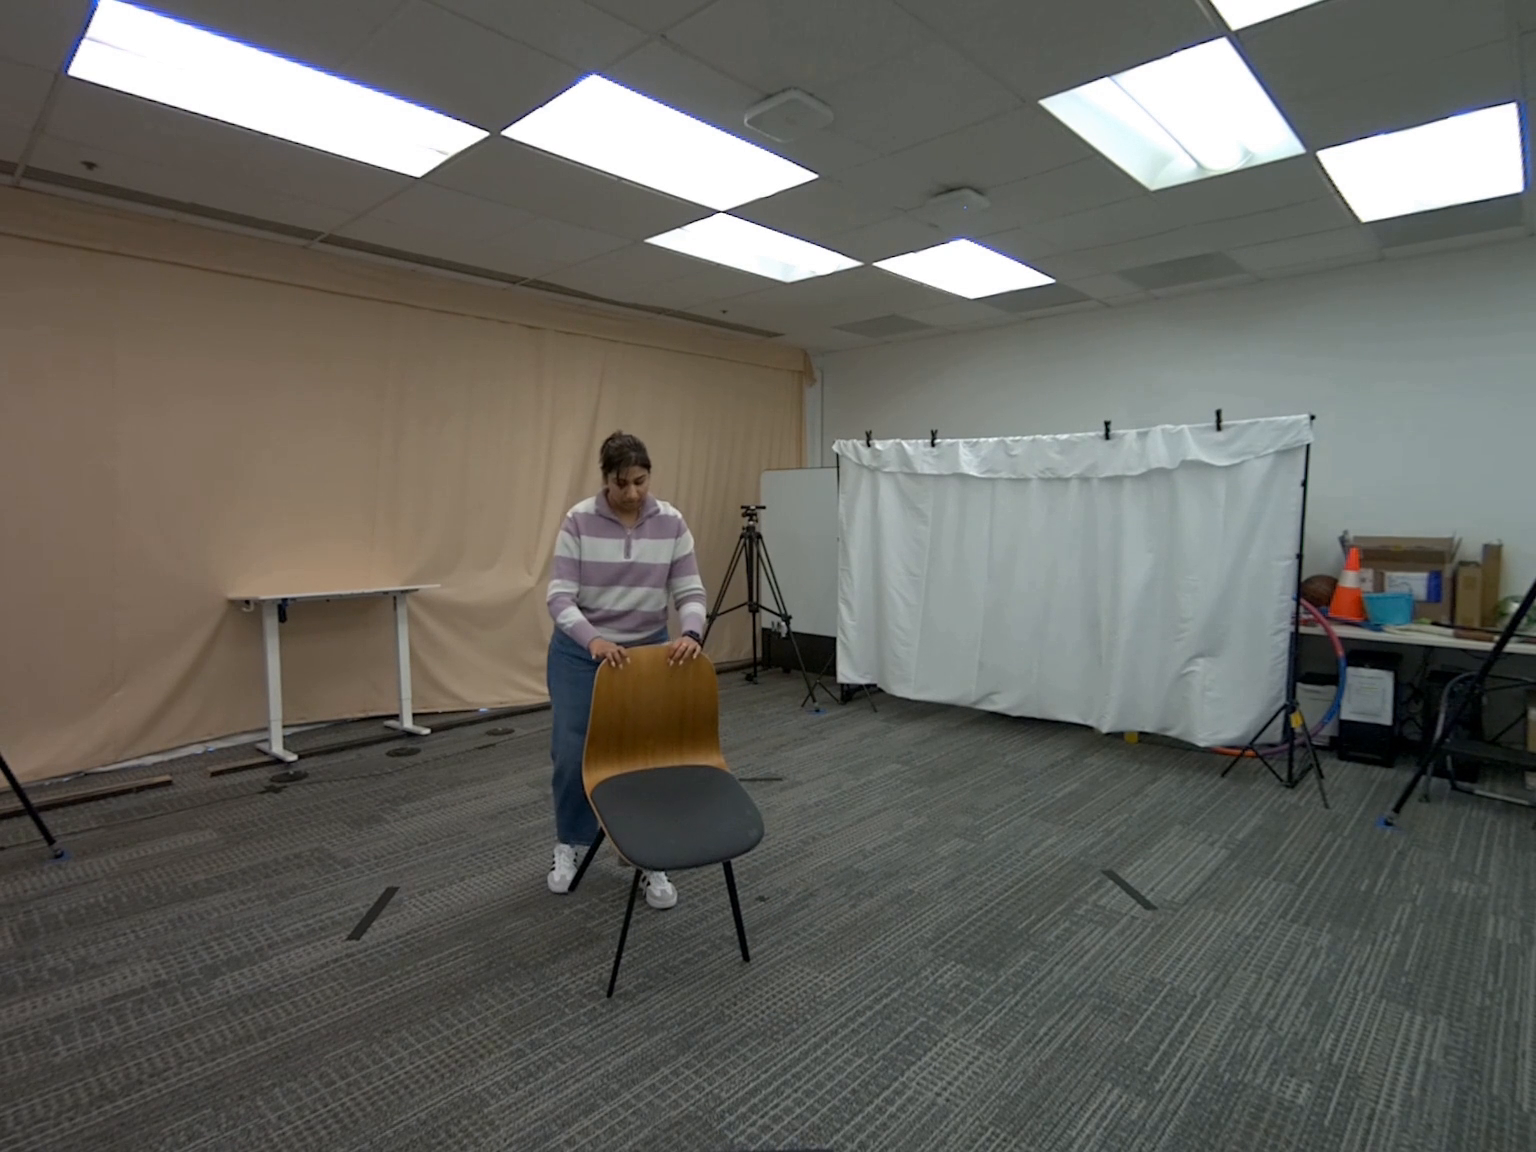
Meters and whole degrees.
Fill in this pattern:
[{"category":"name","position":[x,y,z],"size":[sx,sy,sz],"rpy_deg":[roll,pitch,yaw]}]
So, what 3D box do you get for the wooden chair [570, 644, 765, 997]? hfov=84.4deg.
[{"category":"wooden chair","position":[-0.289,0.715,2.523],"size":[0.466,0.871,0.540],"rpy_deg":[-1,16,-27]}]
